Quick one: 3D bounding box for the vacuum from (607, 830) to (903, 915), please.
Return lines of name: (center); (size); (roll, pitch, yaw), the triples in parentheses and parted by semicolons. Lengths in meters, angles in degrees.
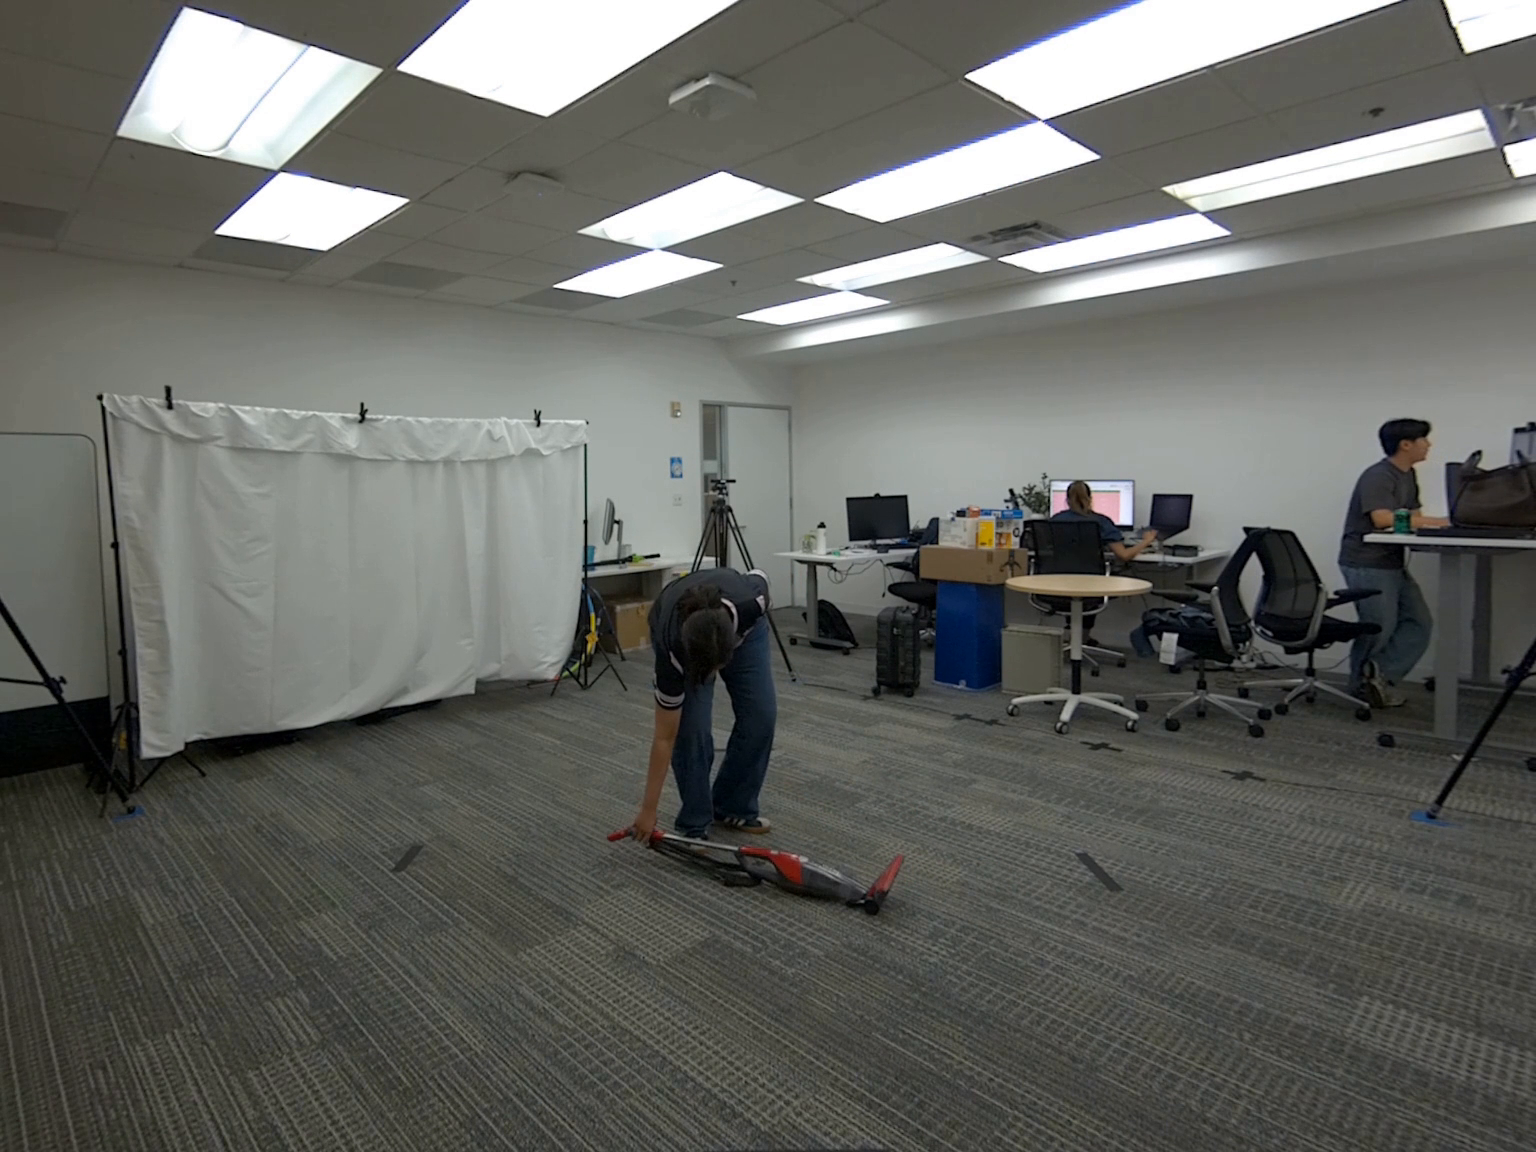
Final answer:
vacuum: (-0.099, 0.994, 2.984); (1.072, 0.143, 0.248); (2, 8, 24)
